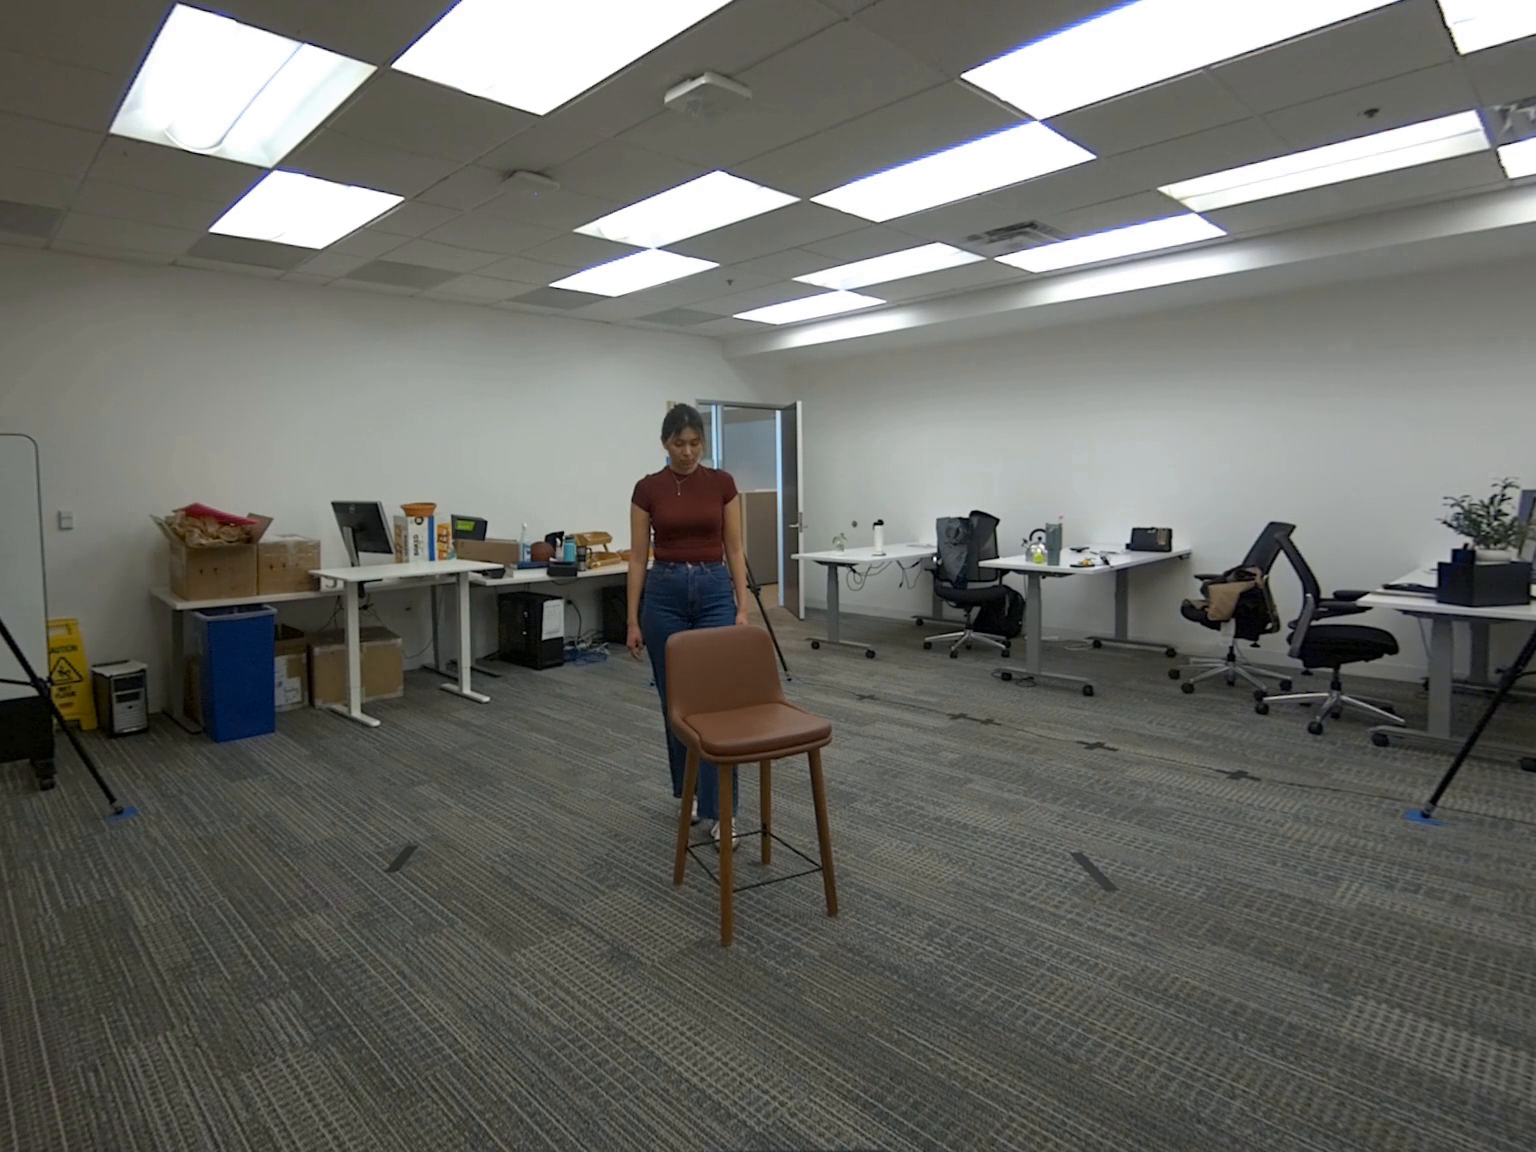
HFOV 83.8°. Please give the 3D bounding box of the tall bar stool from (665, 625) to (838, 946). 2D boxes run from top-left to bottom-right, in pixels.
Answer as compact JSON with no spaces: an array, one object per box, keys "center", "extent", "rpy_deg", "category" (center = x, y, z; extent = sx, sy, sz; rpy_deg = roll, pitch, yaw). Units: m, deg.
[{"center":[-0.065,0.640,2.824],"extent":[0.446,0.888,0.479],"rpy_deg":[-2,3,-27],"category":"tall bar stool"}]
